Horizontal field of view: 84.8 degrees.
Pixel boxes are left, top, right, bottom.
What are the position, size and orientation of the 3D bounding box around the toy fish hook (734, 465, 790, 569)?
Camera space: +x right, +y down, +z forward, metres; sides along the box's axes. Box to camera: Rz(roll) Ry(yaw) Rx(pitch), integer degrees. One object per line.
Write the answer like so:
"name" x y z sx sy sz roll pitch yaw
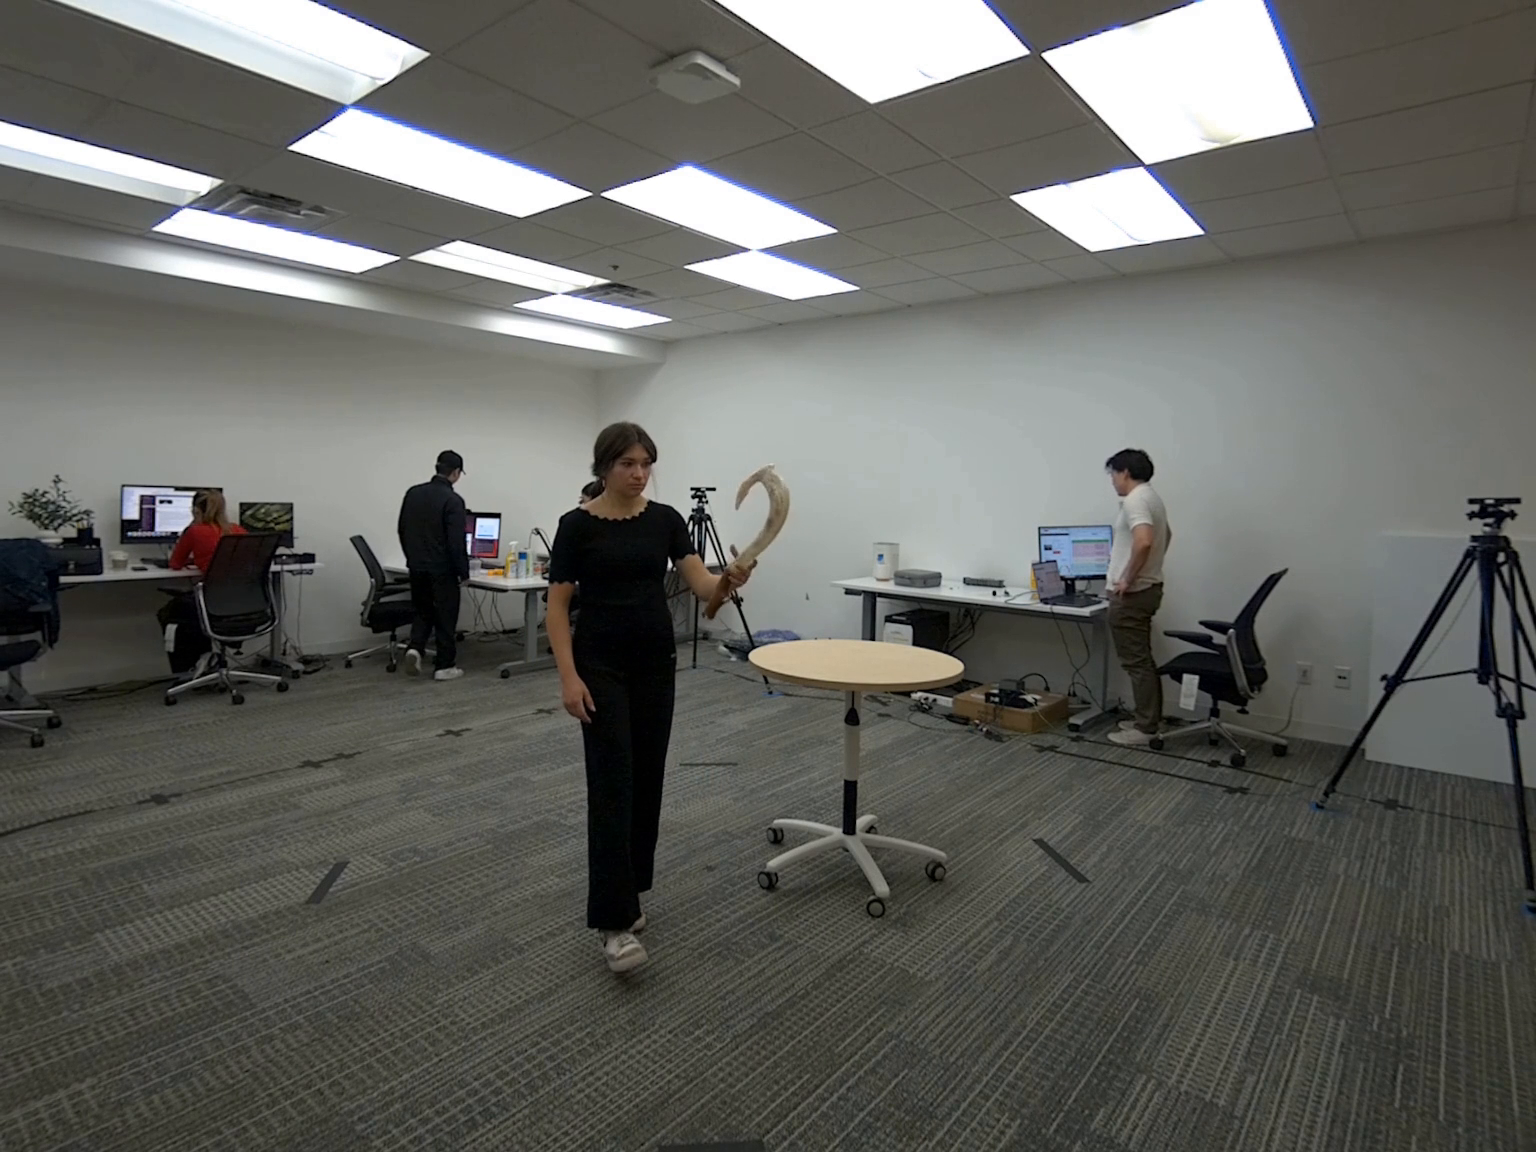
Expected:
"toy fish hook" -0.095 -0.055 2.428 0.047 0.503 0.233 10 38 -32
